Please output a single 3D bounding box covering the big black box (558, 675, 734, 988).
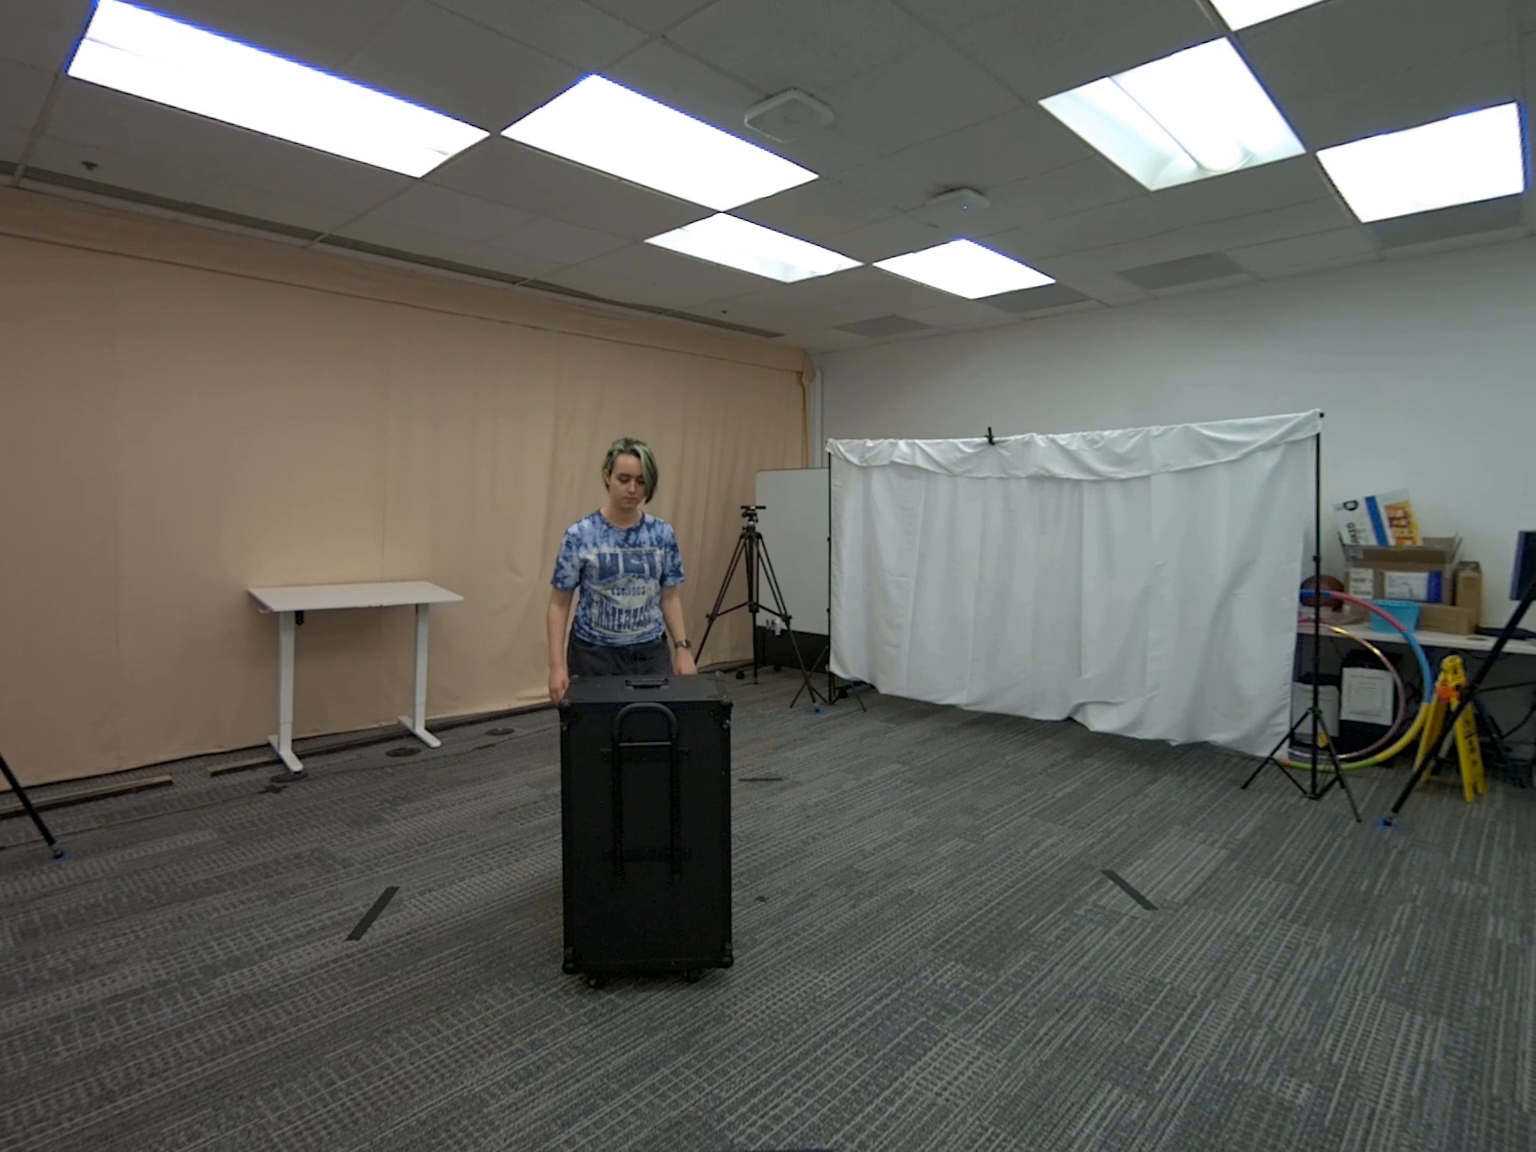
[{"bbox_3d":[-0.350,0.757,2.538,0.518,0.859,0.399,0,4,-6],"label":"big black box"}]
